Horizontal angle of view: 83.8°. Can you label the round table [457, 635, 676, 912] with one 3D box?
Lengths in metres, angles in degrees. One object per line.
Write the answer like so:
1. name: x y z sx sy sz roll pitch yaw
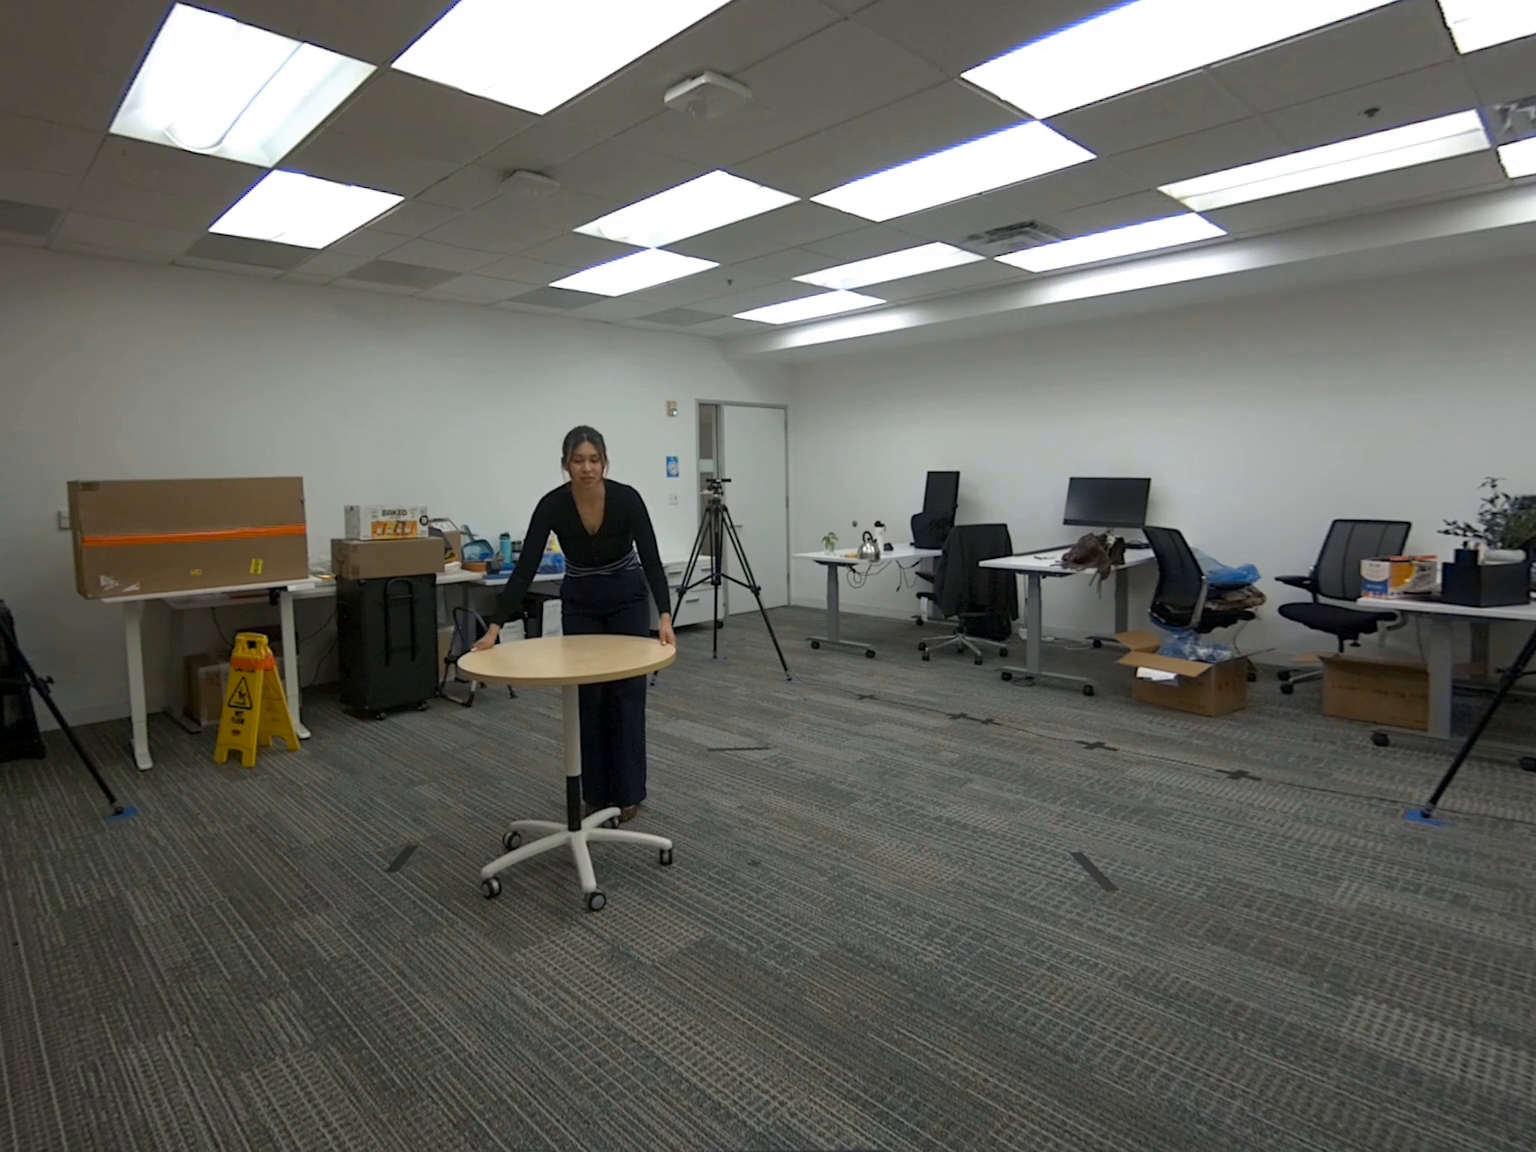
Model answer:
1. round table: -0.708 0.673 3.081 0.763 0.791 0.767 -2 4 -2
